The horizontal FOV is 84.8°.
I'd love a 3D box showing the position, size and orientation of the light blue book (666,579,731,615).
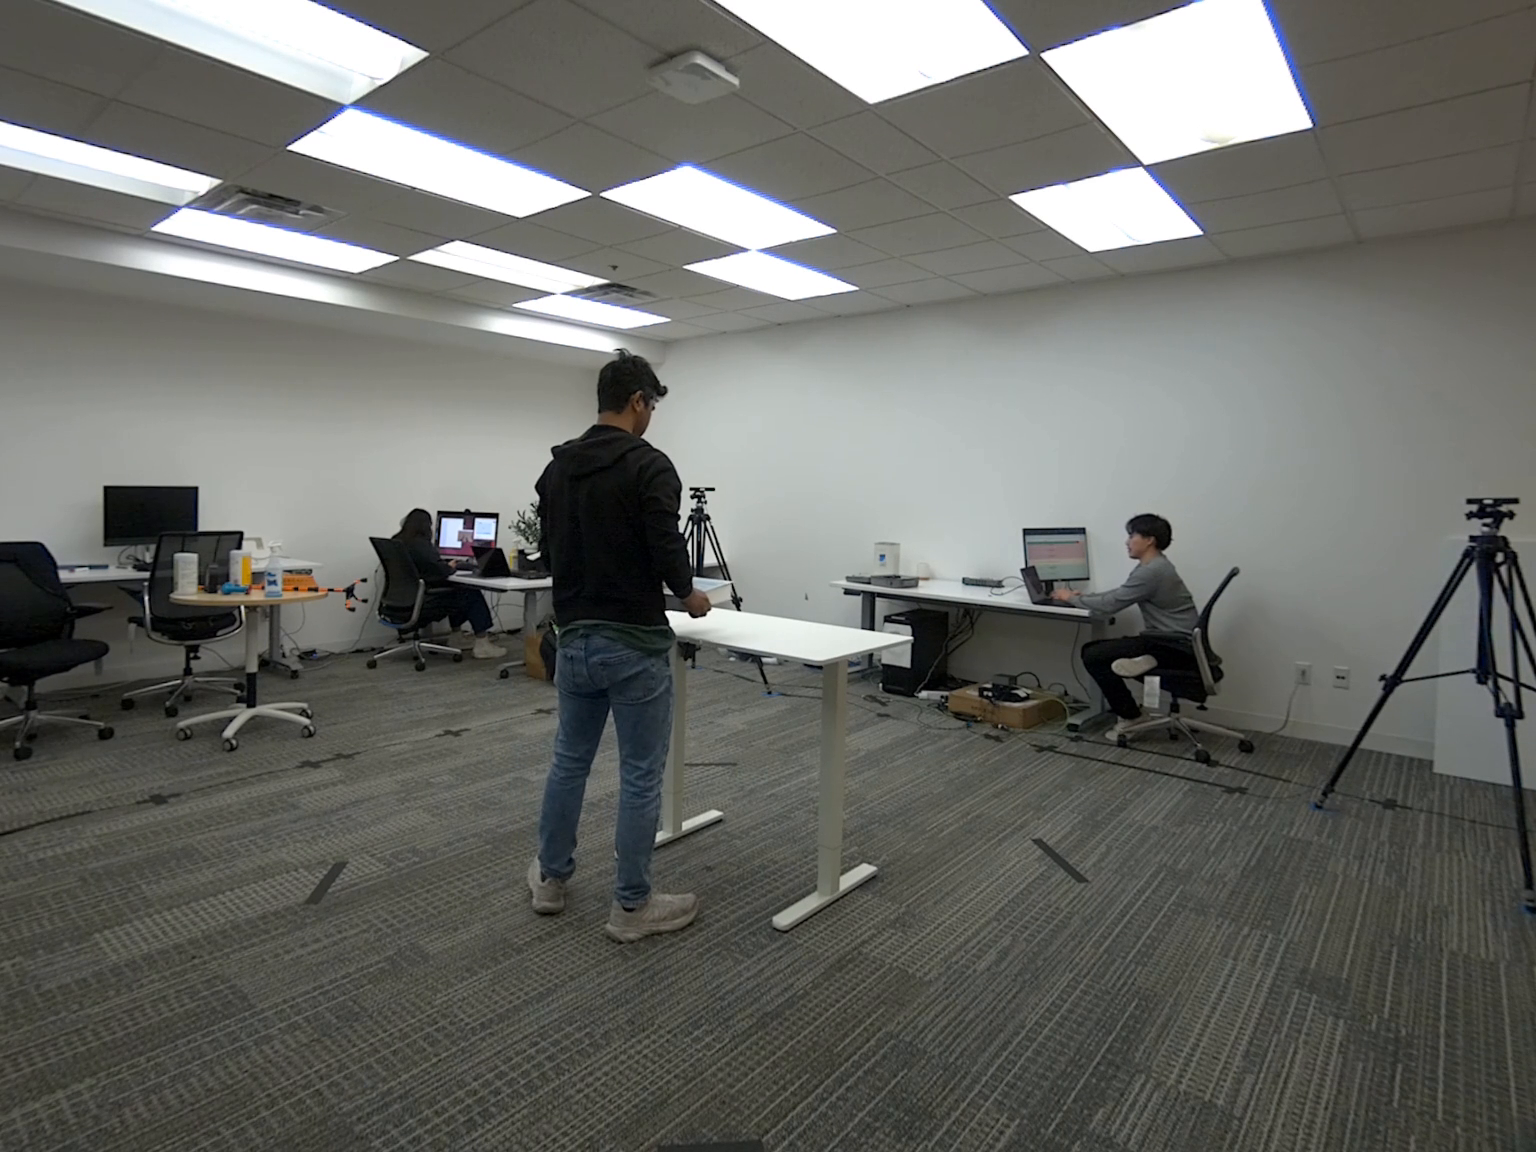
[{"bbox_3d":[-0.285,0.066,2.957,0.197,0.058,0.255,6,13,31],"label":"light blue book"}]
